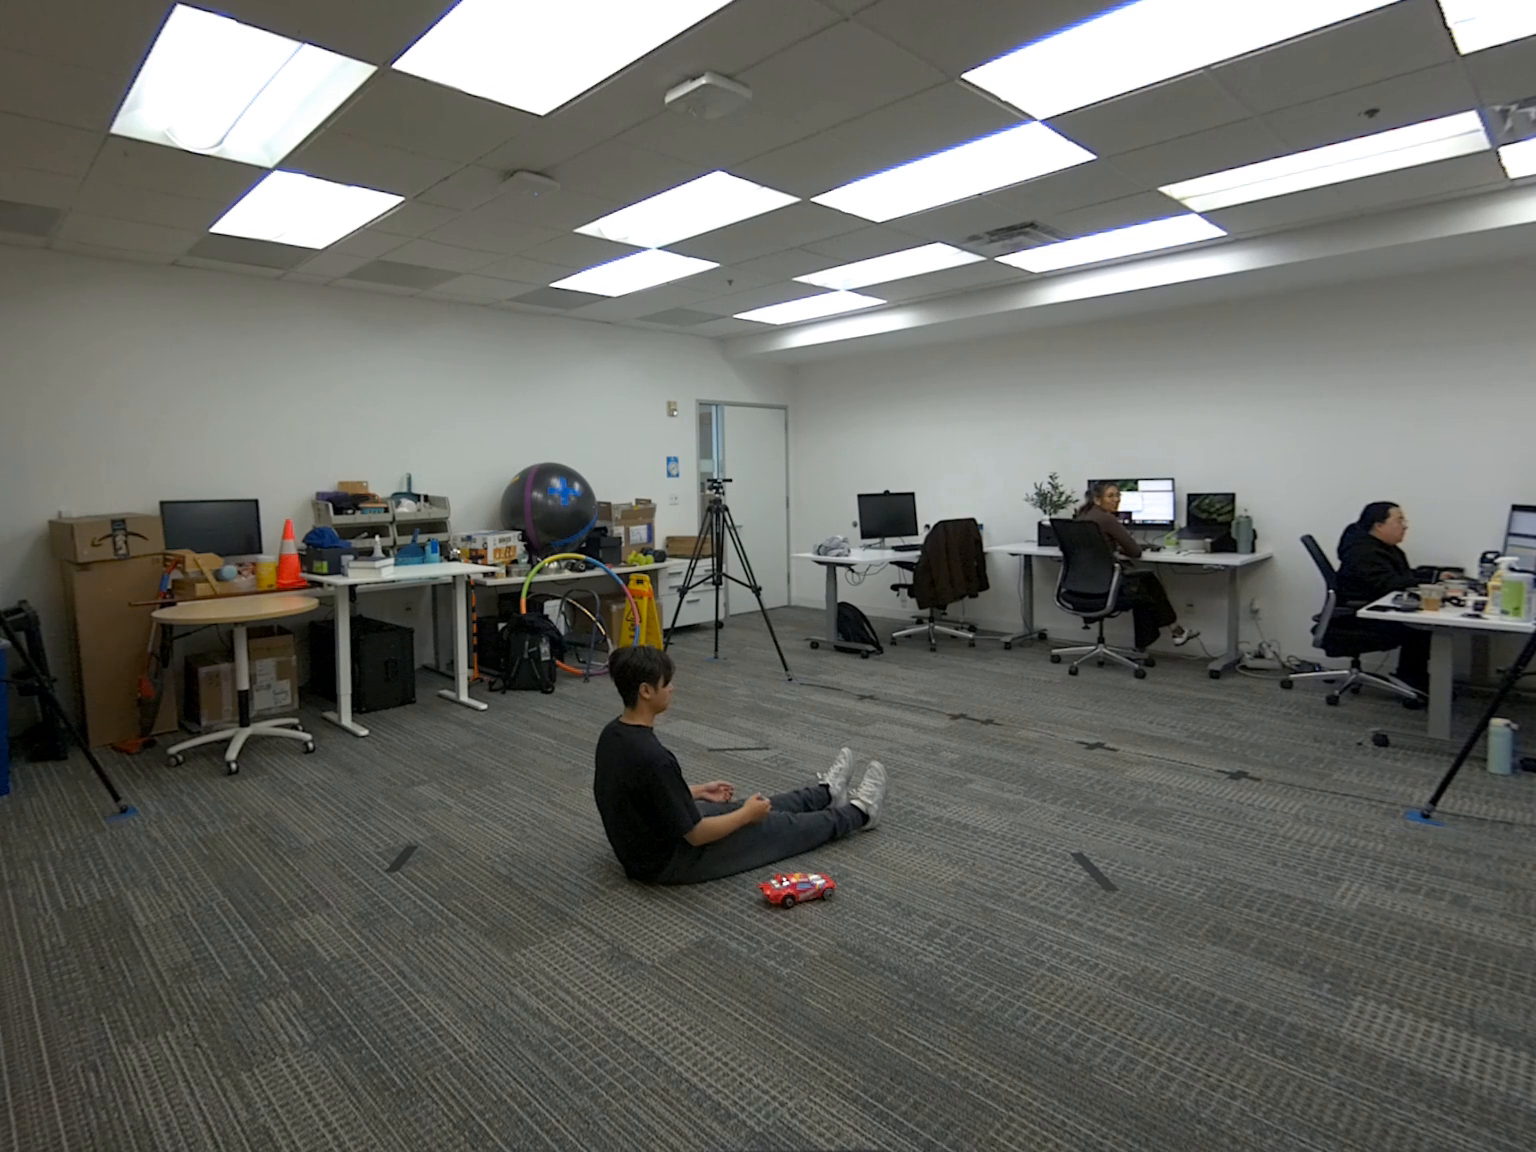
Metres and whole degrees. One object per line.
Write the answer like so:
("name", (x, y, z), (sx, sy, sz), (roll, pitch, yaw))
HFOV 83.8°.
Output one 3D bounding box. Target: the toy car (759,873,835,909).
("toy car", (0.093, 1.036, 2.838), (0.249, 0.083, 0.133), (8, 3, -21))
